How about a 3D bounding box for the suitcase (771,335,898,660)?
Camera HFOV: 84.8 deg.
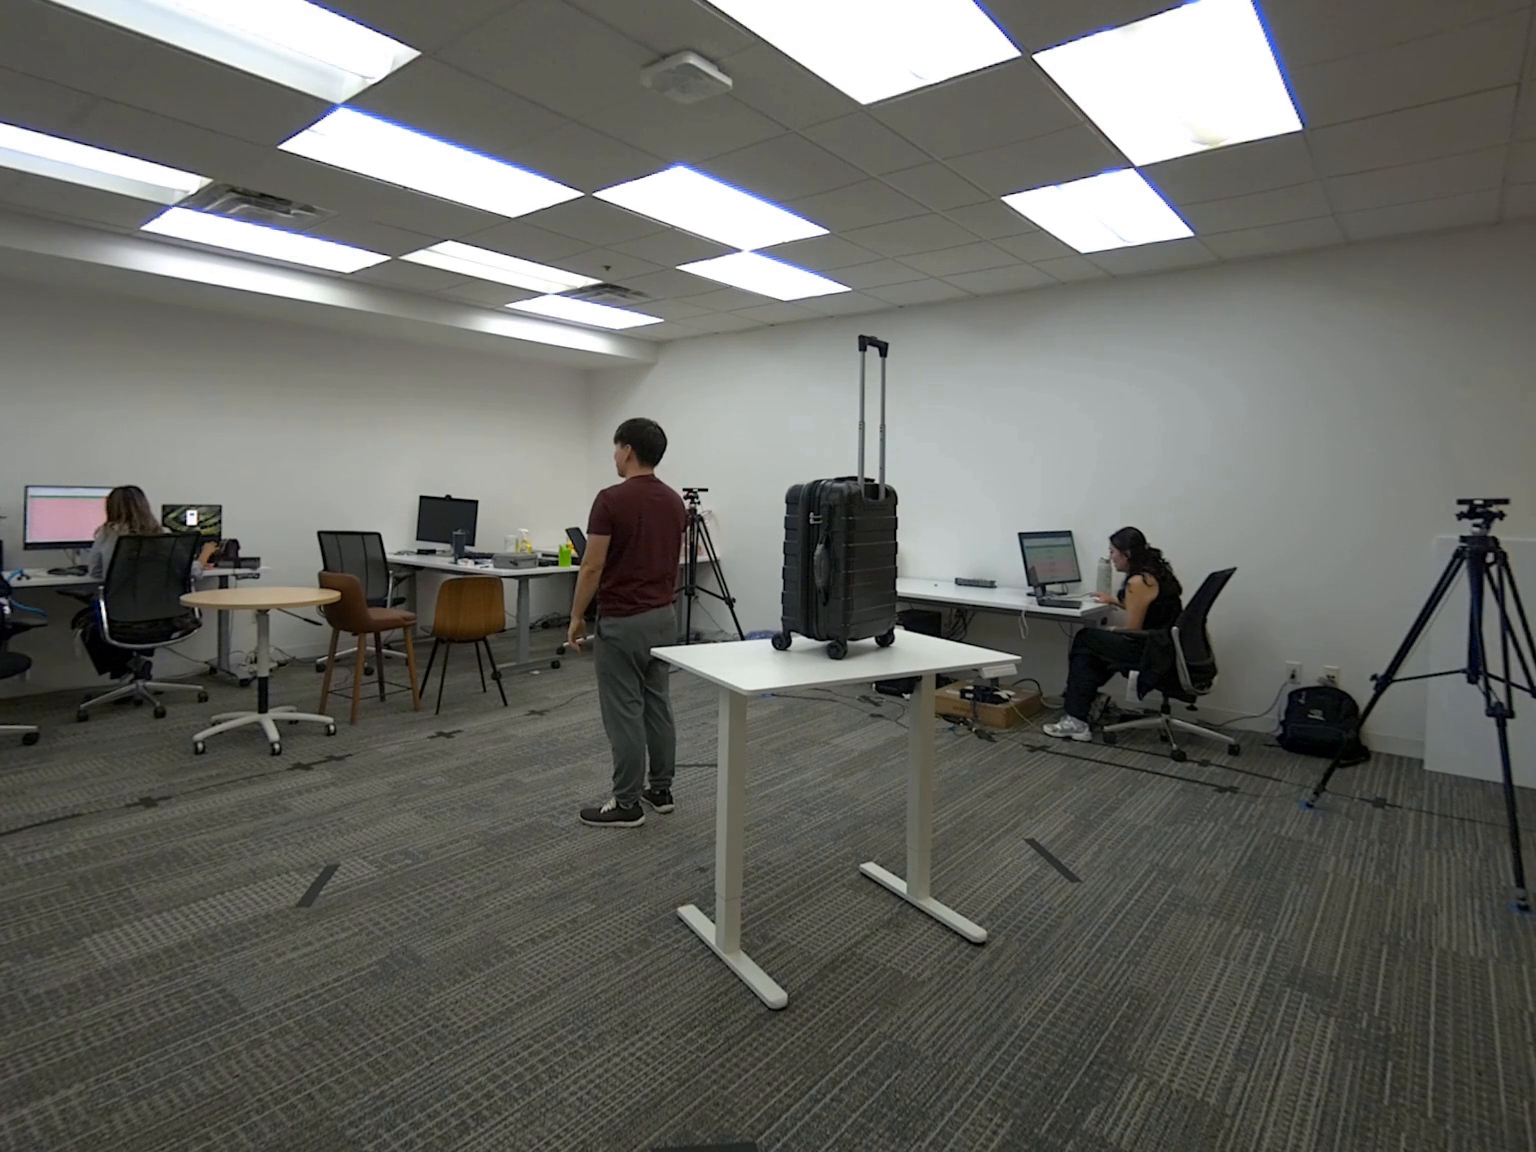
[{"bbox_3d":[0.225,-0.249,2.719,0.265,0.976,0.372,2,3,38],"label":"suitcase"}]
